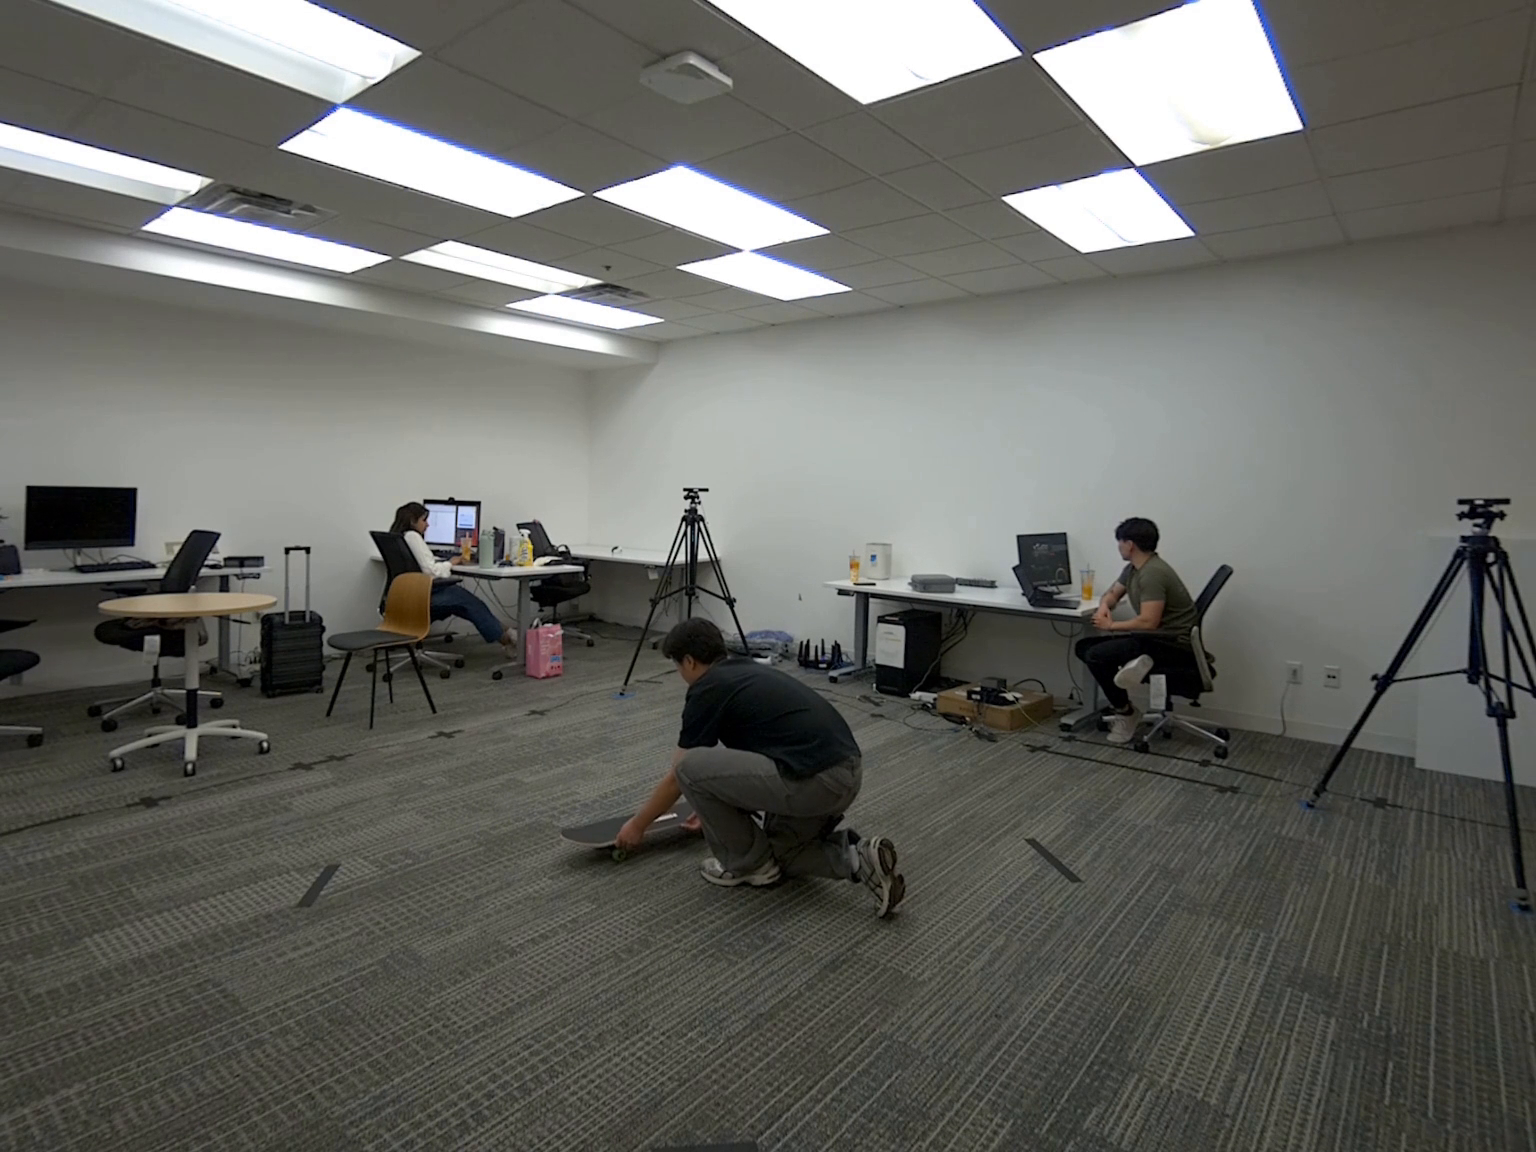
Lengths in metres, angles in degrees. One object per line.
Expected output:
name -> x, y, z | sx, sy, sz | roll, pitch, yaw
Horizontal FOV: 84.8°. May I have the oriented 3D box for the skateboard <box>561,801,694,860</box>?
skateboard -> -0.449, 0.981, 3.339 | 0.763, 0.110, 0.200 | -3, 5, -35
